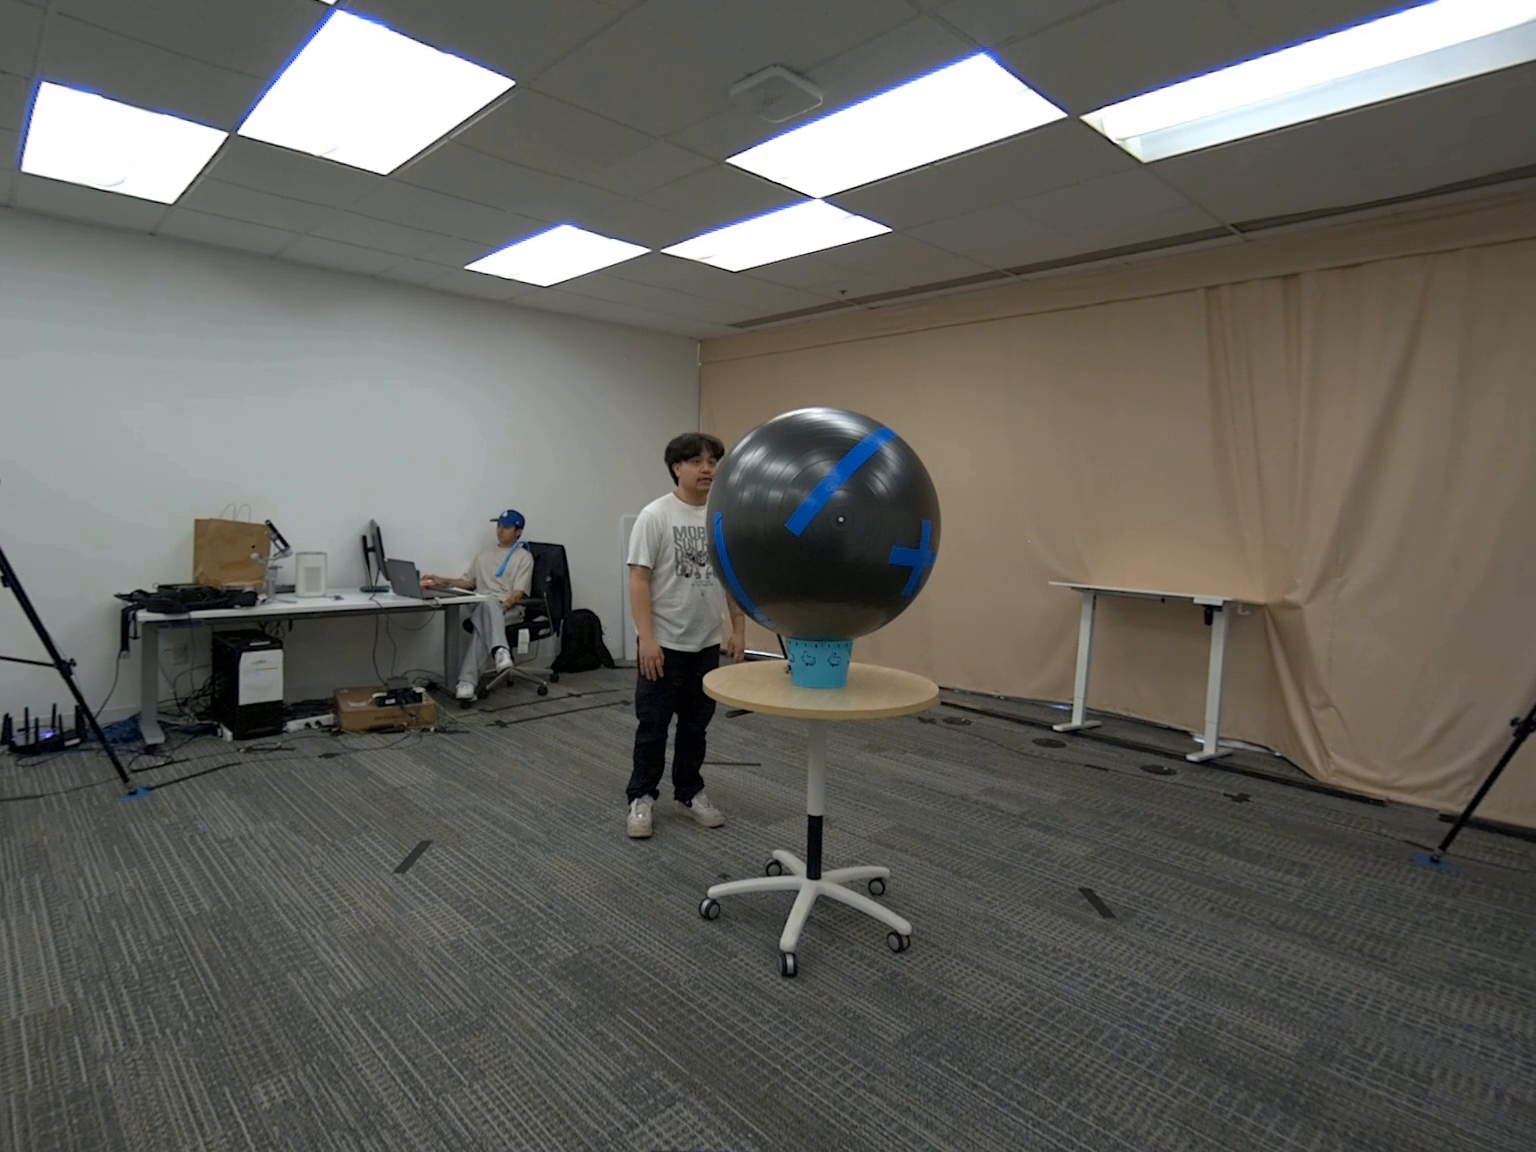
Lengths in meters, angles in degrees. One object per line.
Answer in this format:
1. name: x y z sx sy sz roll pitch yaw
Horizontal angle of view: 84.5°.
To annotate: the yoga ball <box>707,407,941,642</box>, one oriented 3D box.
1. yoga ball: 0.172 -0.160 2.736 0.757 0.756 0.761 1 4 -1
